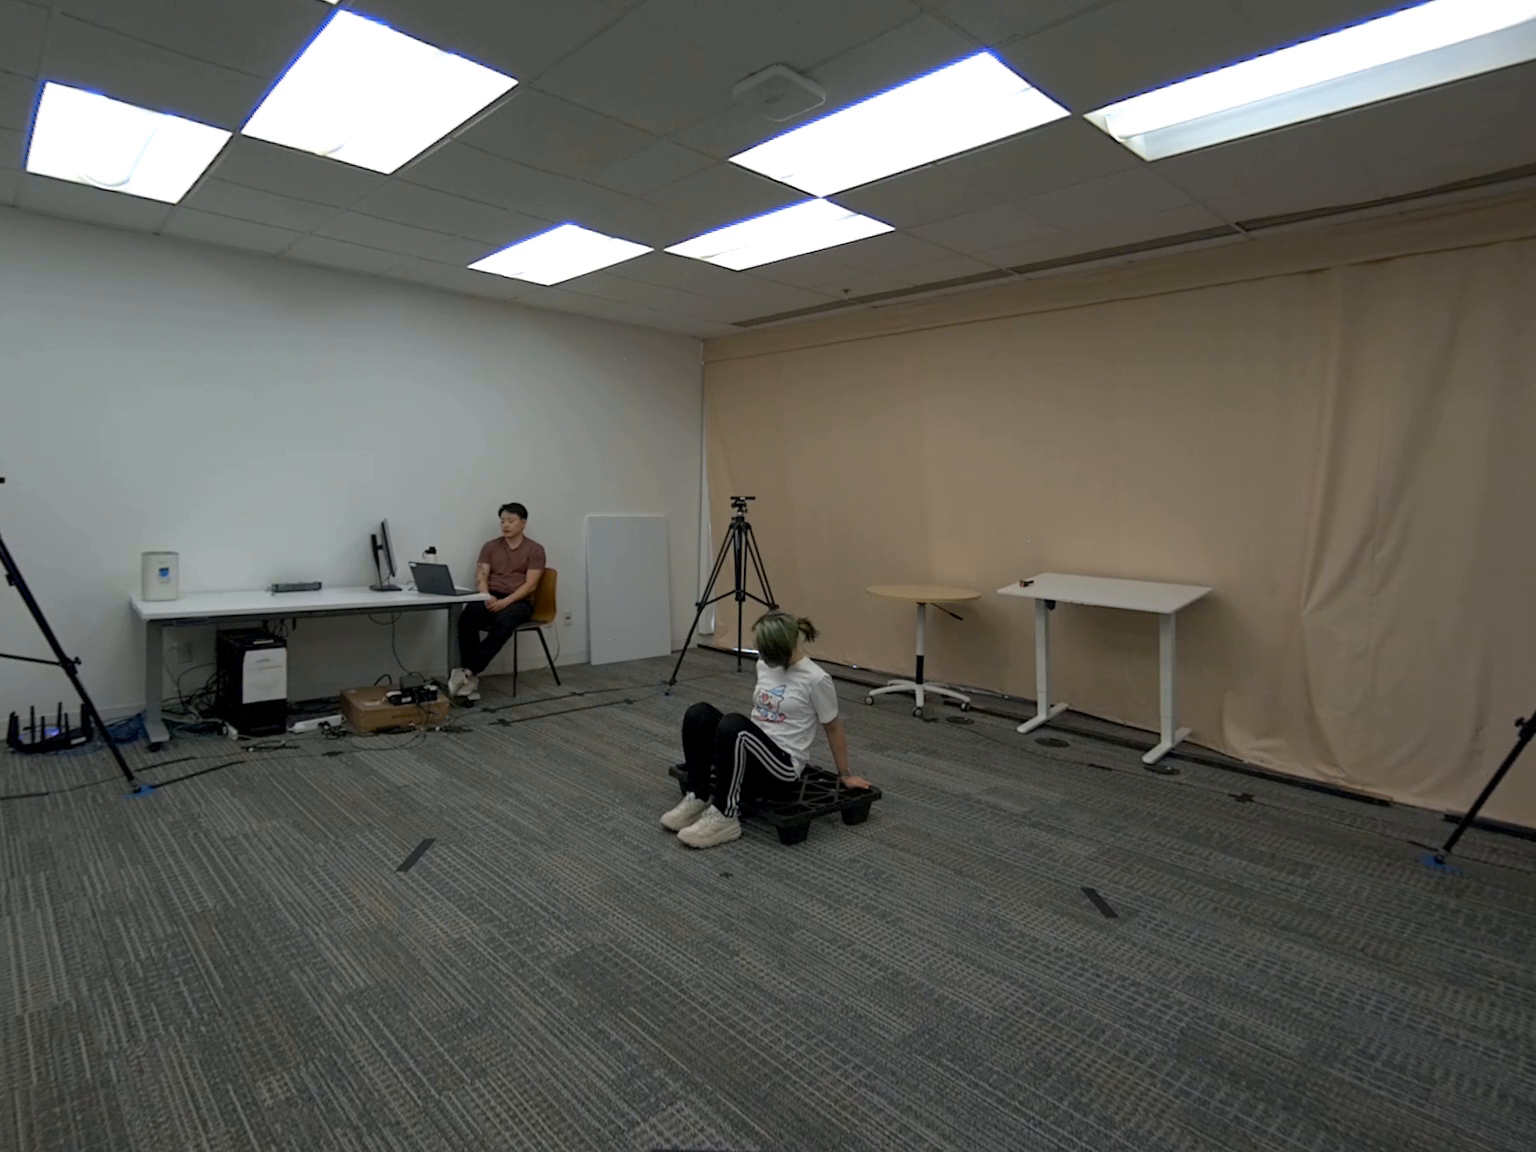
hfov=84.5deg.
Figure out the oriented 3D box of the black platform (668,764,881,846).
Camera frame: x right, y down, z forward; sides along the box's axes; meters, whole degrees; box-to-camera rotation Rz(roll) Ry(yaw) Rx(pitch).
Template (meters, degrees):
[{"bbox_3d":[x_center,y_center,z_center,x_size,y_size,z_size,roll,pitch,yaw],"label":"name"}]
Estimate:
[{"bbox_3d":[0.008,0.982,3.802,0.592,0.143,0.826,-4,7,-40],"label":"black platform"}]
